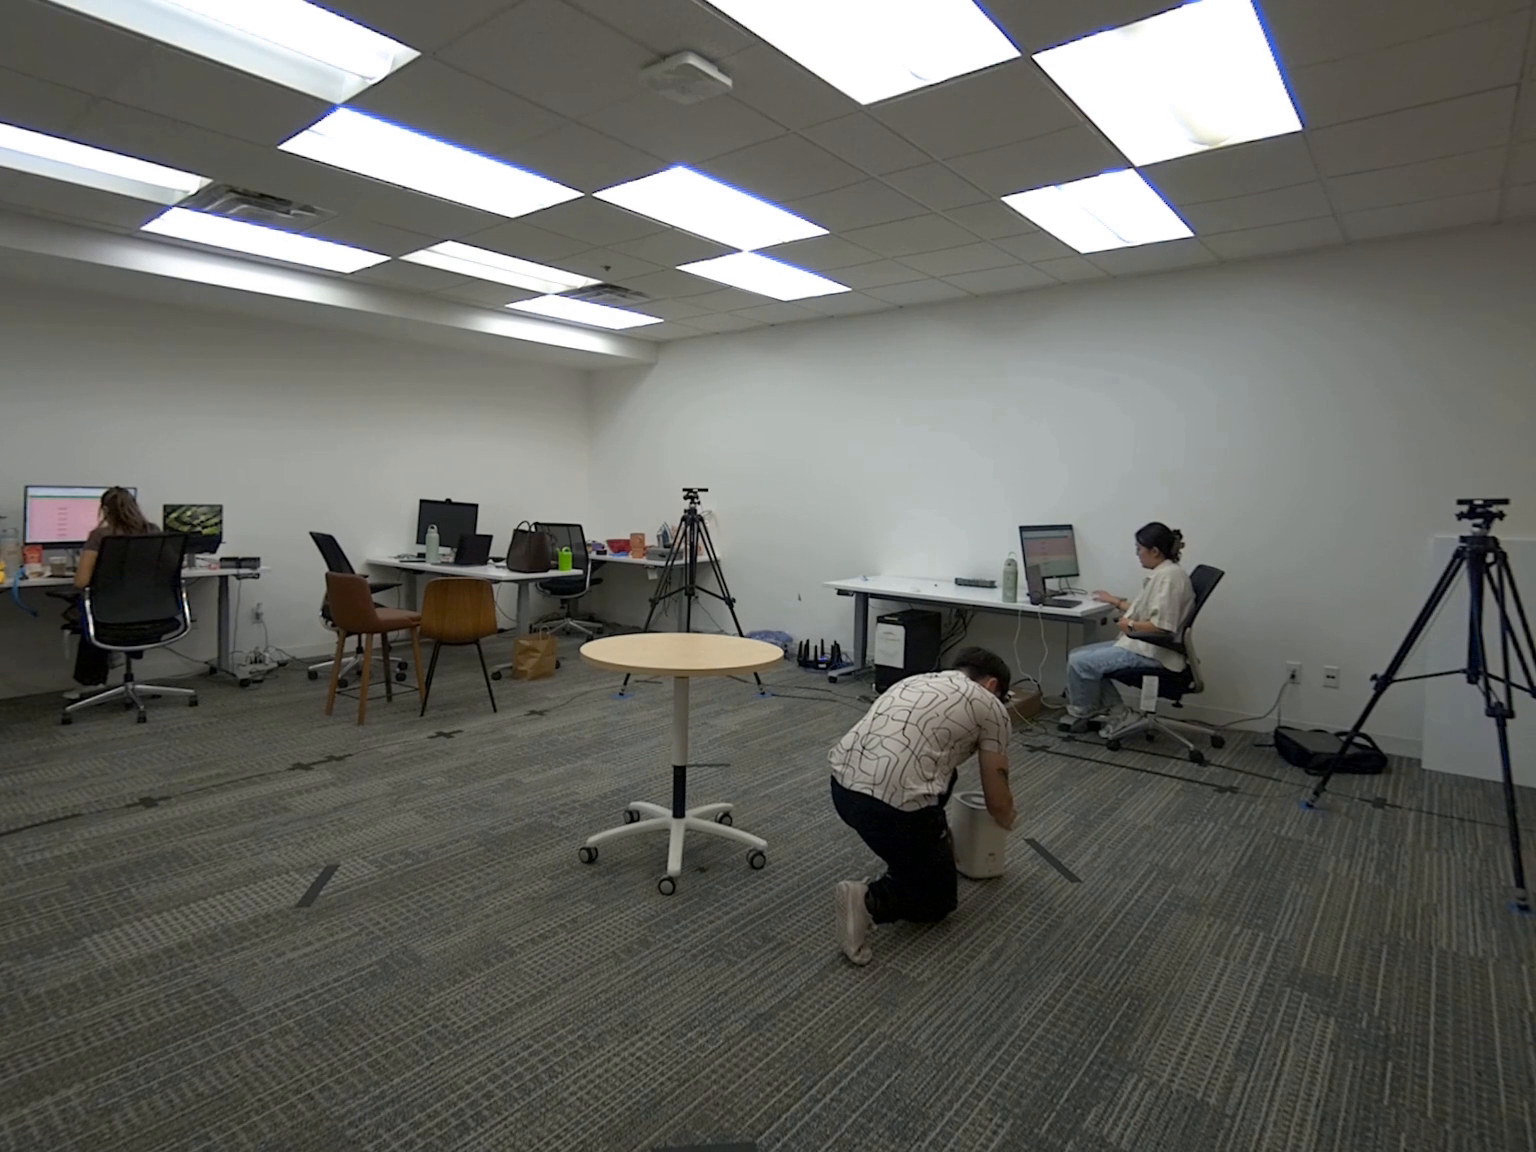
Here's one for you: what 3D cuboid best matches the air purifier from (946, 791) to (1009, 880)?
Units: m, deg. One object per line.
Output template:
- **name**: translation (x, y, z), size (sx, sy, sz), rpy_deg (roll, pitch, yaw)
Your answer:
- **air purifier**: translation (0.775, 0.959, 3.147), size (0.167, 0.265, 0.176), rpy_deg (1, 3, -23)
